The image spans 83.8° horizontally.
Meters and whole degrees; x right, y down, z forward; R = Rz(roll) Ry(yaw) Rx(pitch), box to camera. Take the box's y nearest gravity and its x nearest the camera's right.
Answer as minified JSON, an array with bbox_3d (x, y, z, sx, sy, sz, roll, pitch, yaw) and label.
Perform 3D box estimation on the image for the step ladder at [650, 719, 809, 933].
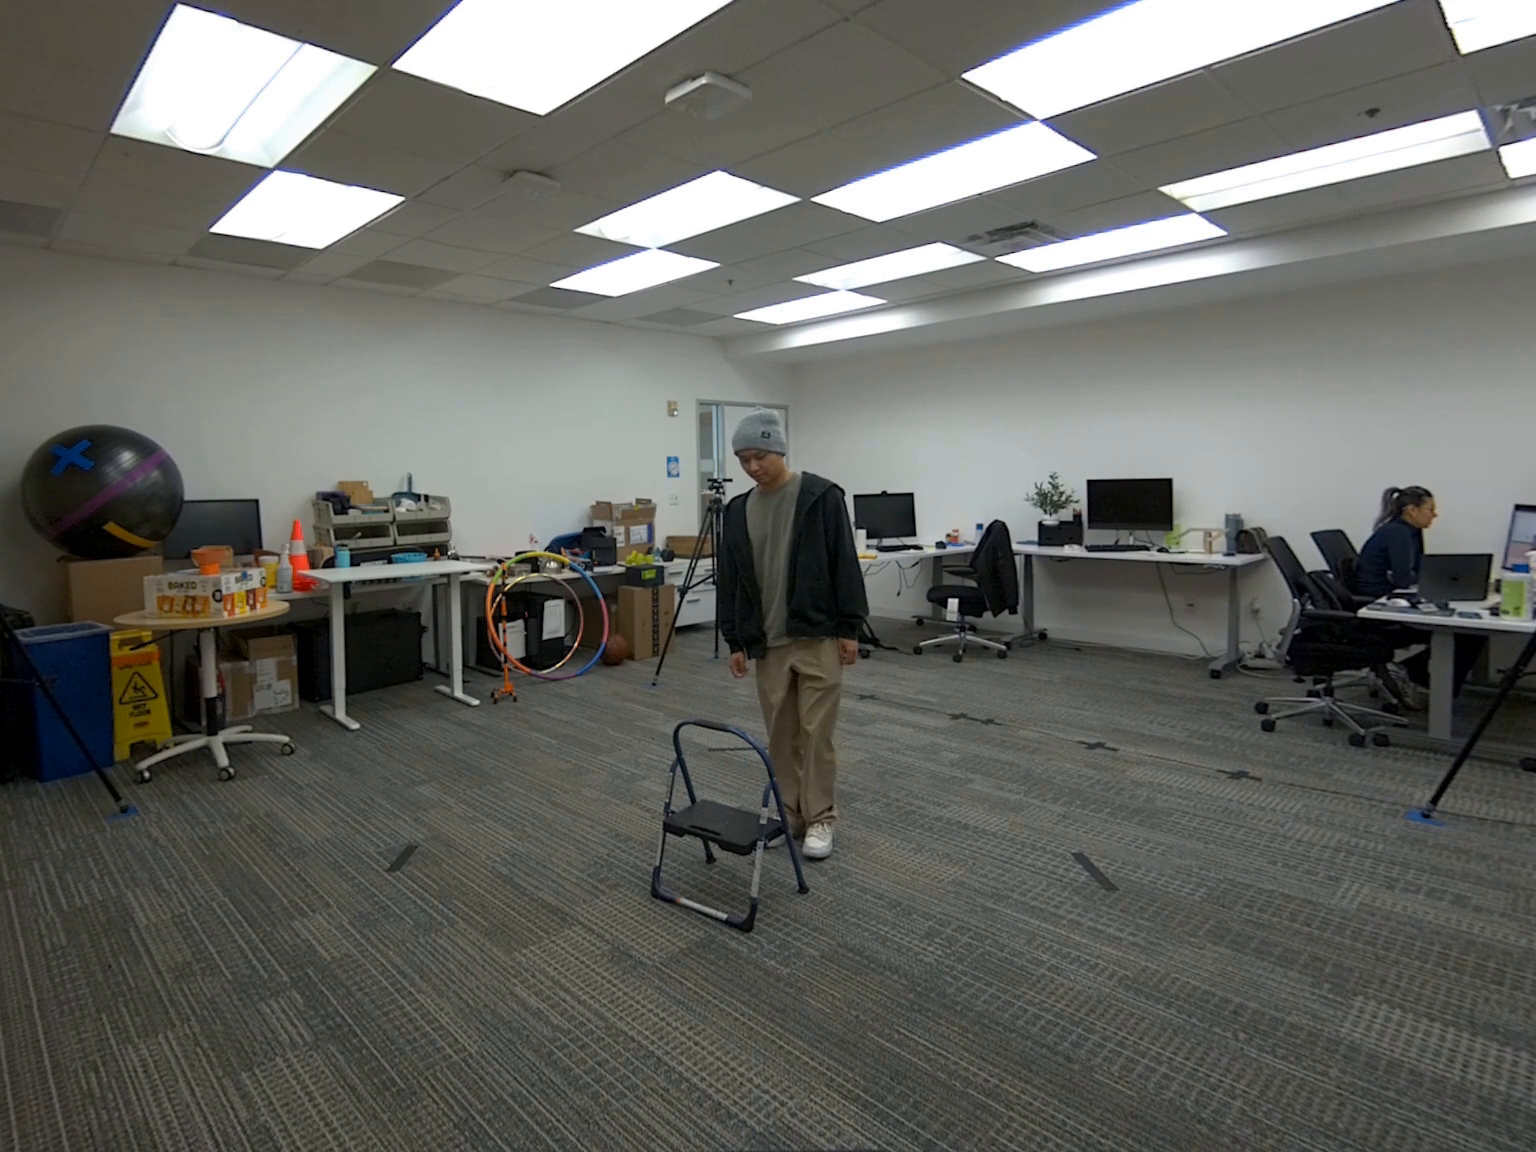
[{"bbox_3d":[-0.136,0.770,2.867,0.443,0.604,0.341,2,5,35],"label":"step ladder"}]
